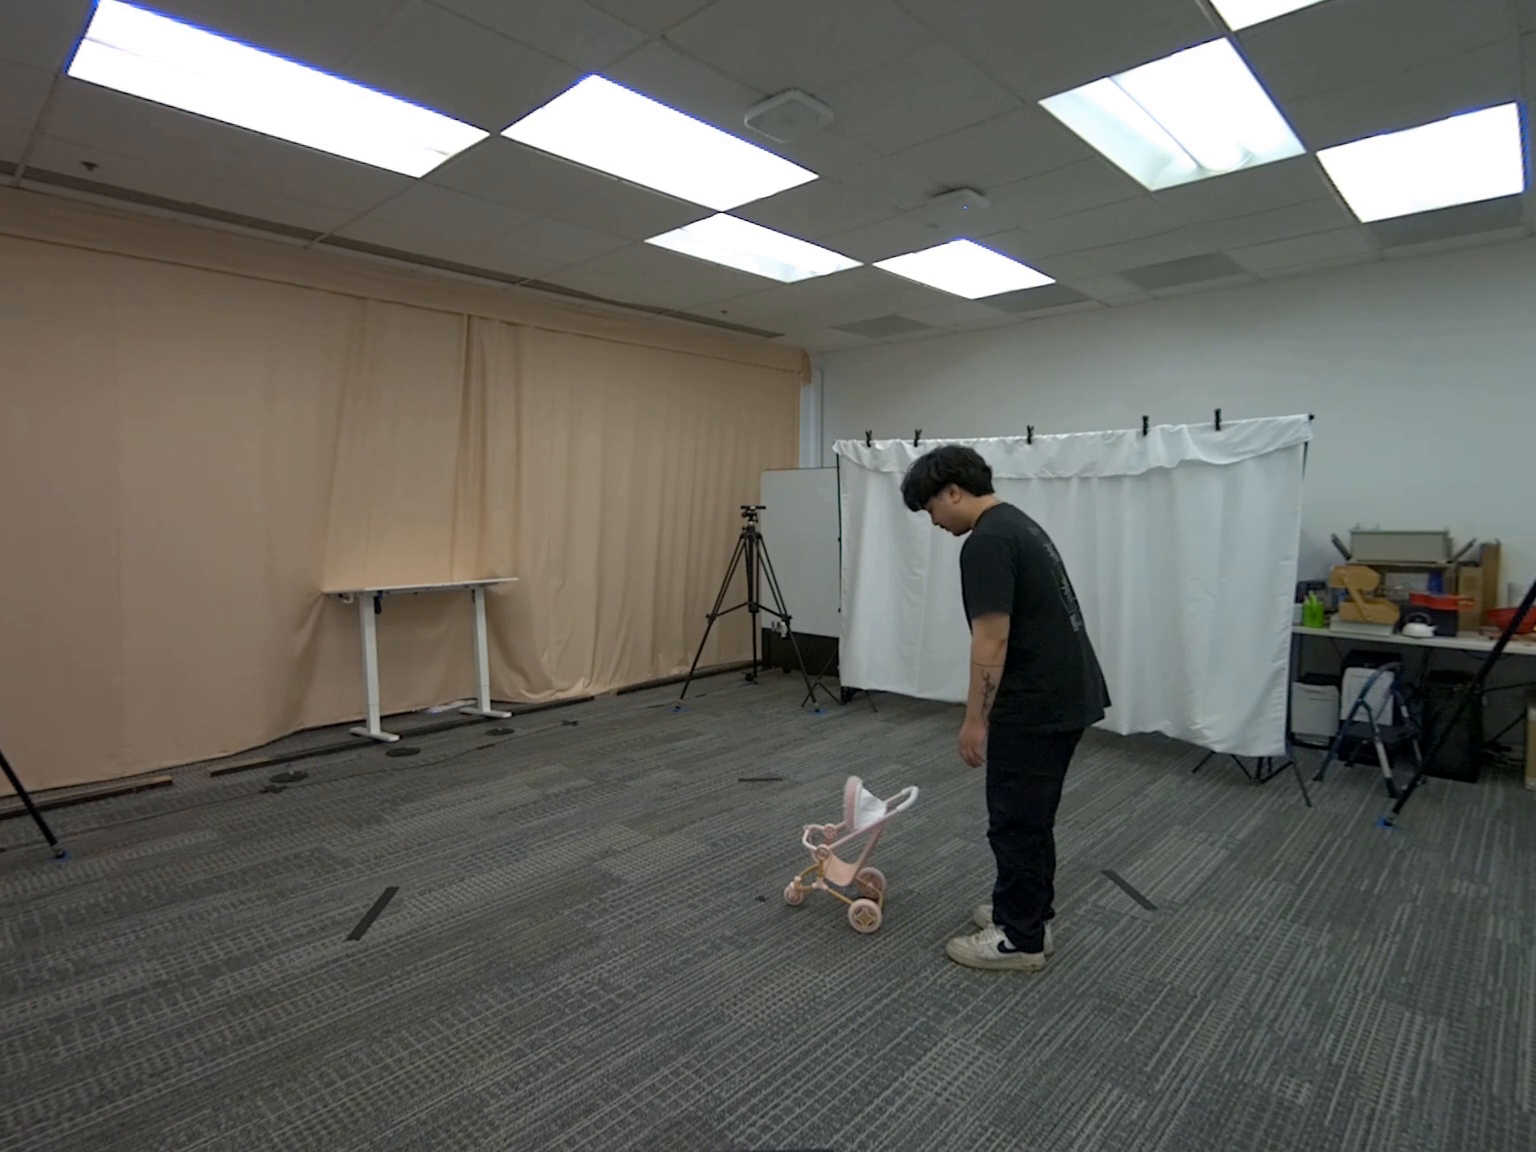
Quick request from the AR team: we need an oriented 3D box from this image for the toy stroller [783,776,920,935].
[{"bbox_3d":[0.280,0.927,2.877,0.349,0.533,0.276,17,8,18],"label":"toy stroller"}]
